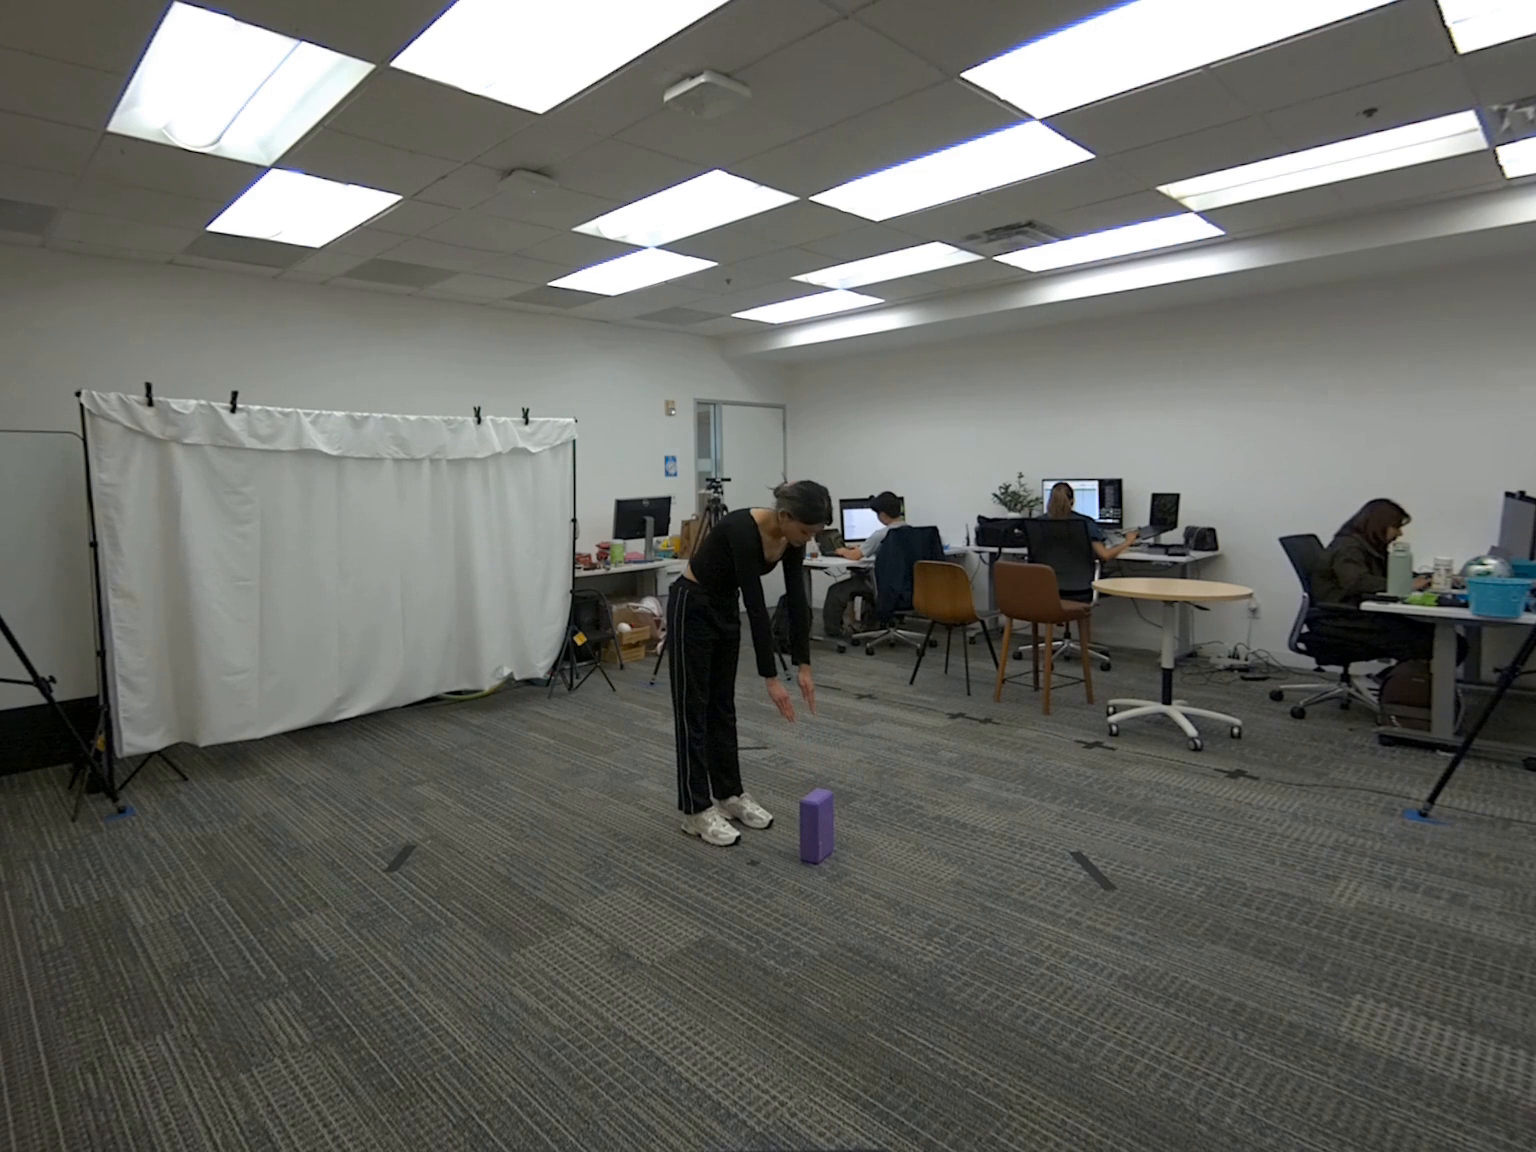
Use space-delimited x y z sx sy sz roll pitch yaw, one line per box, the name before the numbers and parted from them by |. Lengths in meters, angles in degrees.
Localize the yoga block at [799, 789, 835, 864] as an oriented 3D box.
yoga block | 0.184 0.918 3.149 0.078 0.229 0.145 2 4 29
